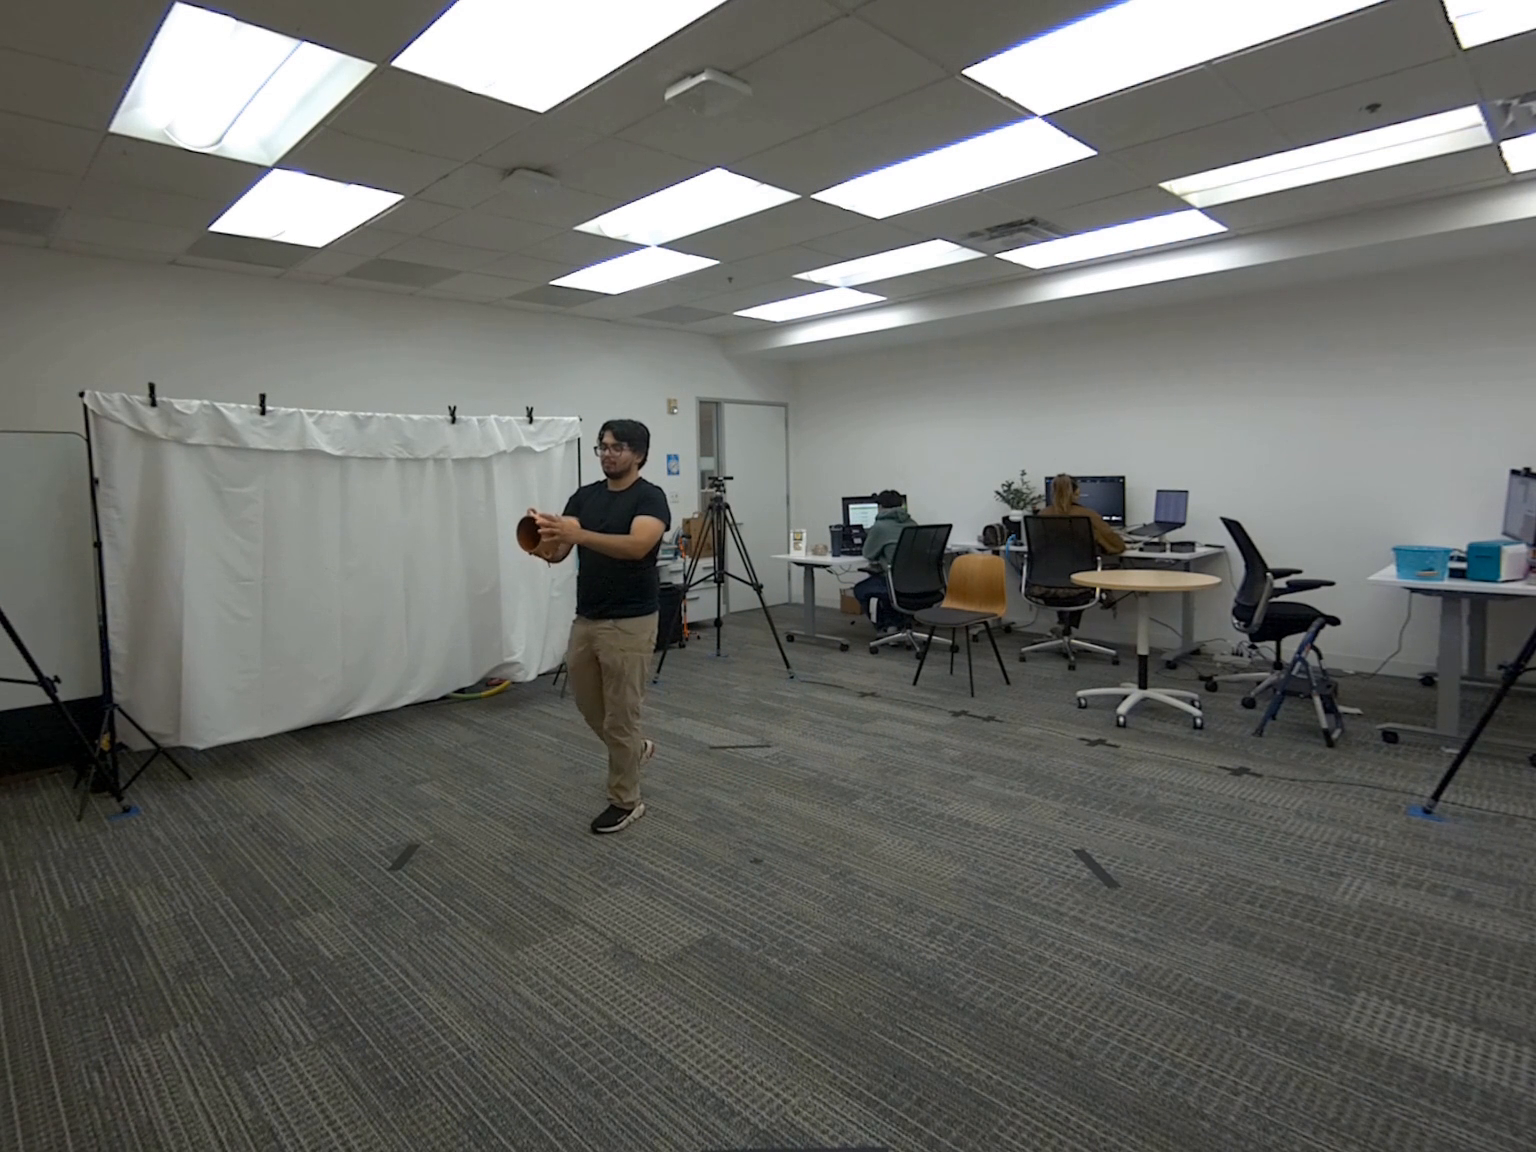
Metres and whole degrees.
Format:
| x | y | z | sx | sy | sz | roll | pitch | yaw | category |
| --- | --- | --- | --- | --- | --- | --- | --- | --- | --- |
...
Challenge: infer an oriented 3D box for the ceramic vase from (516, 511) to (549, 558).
| x | y | z | sx | sy | sz | roll | pitch | yaw | category |
| --- | --- | --- | --- | --- | --- | --- | --- | --- | --- |
| -0.793 | -0.155 | 3.103 | 0.139 | 0.157 | 0.215 | 21 | 14 | 27 | ceramic vase |
